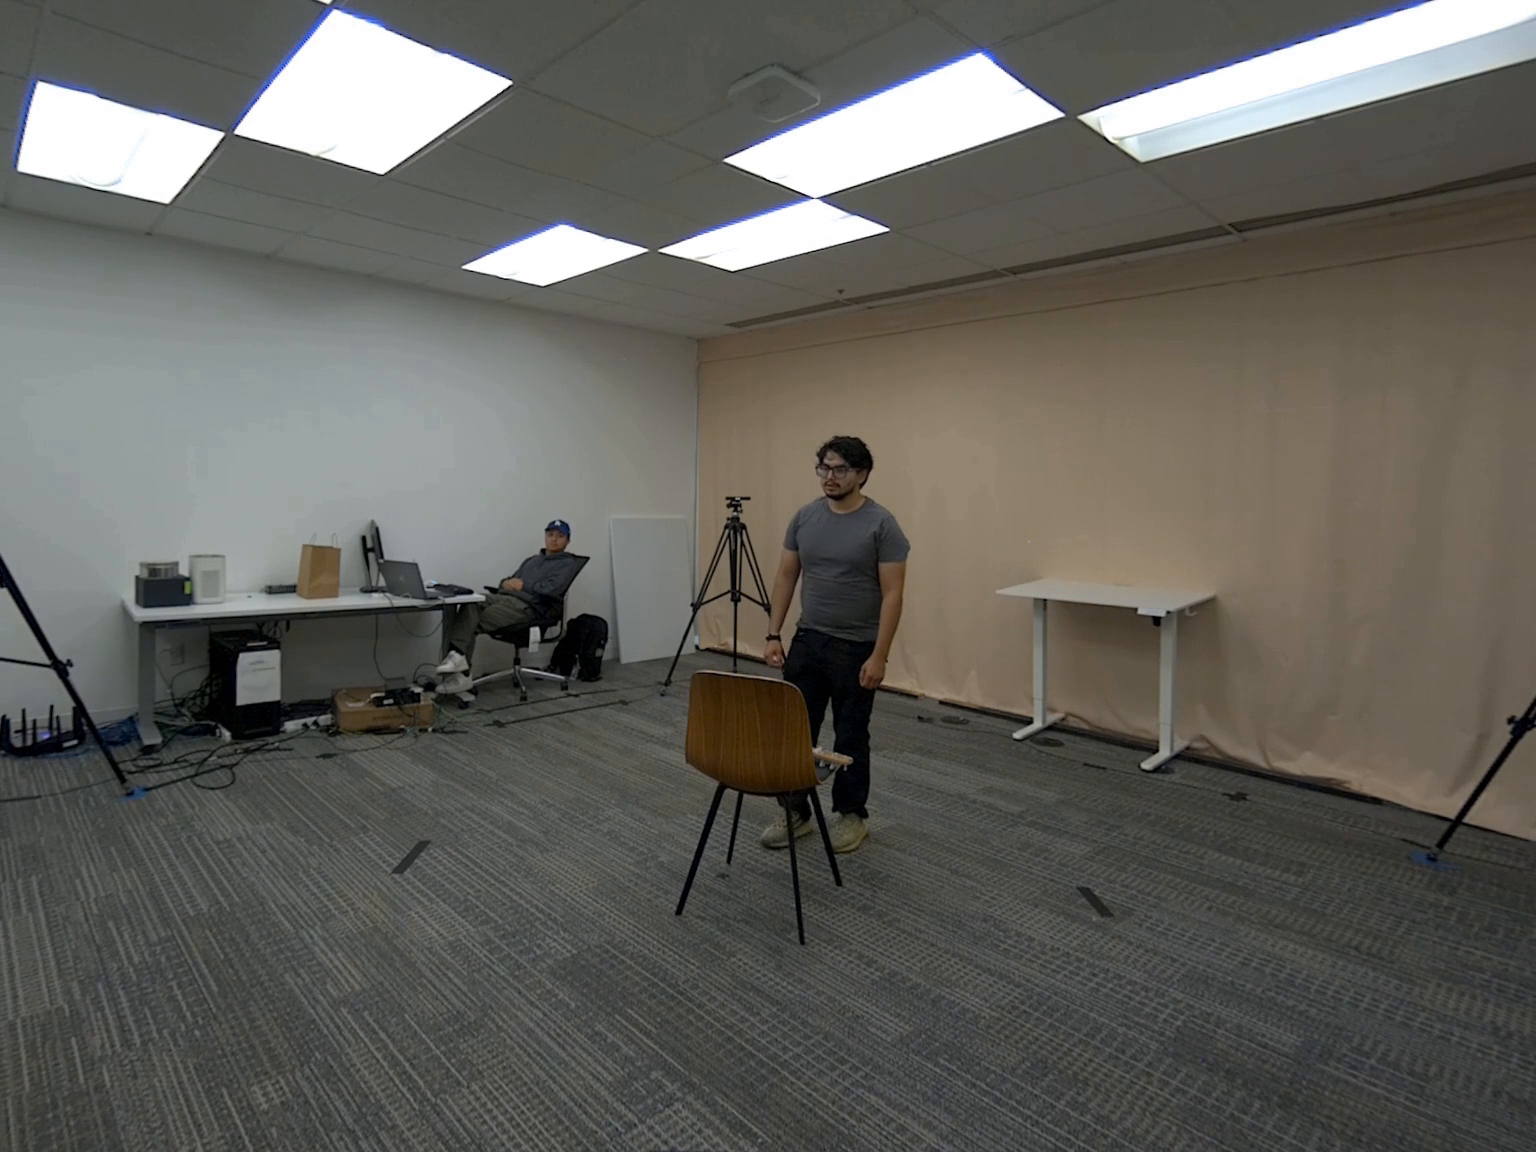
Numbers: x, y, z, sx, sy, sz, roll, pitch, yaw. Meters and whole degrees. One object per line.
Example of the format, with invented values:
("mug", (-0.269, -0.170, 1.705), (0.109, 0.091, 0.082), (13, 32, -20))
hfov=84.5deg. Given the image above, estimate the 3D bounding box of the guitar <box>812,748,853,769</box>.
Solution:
("guitar", (0.040, 0.617, 2.926), (0.188, 0.070, 0.511), (-3, 9, -45))
